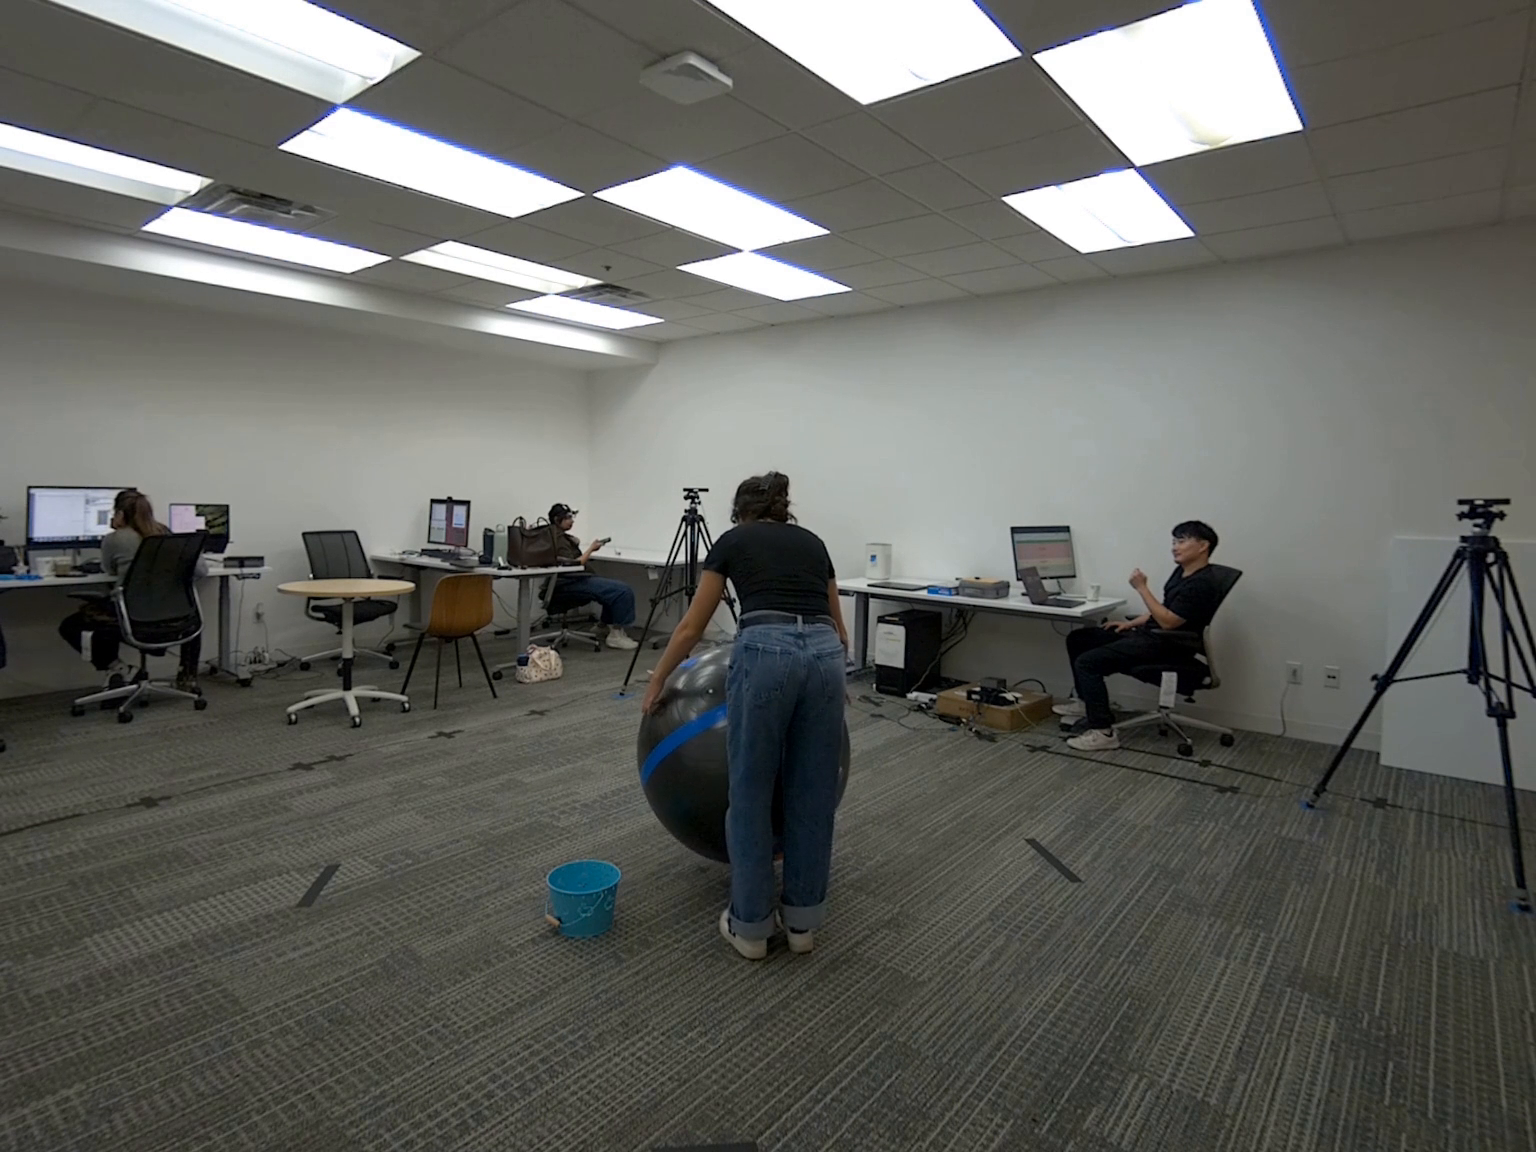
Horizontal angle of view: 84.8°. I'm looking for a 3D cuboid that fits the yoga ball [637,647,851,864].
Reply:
[{"bbox_3d":[-0.094,0.644,3.040,0.757,0.755,0.762,1,4,-2],"label":"yoga ball"}]
